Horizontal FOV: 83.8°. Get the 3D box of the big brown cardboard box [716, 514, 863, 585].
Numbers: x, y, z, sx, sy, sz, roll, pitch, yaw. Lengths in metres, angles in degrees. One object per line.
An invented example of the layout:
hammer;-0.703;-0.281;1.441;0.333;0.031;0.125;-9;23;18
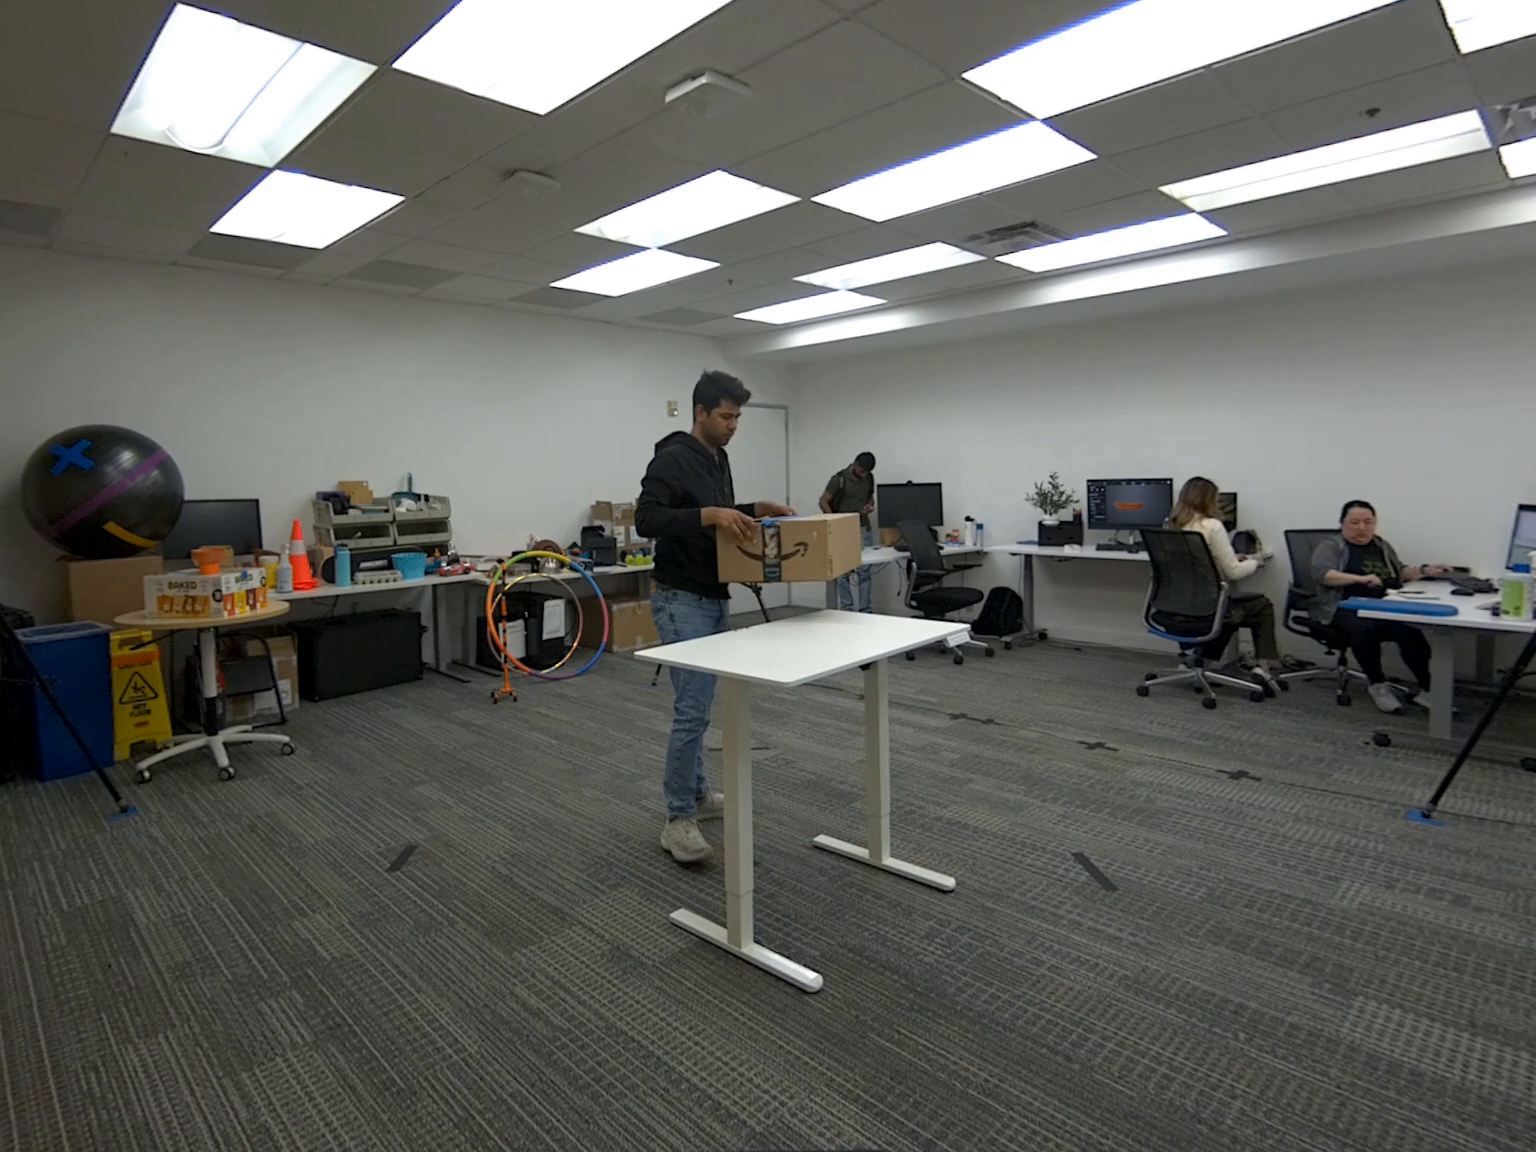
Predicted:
big brown cardboard box;0.084;-0.113;3.279;0.424;0.232;0.581;-2;4;16
